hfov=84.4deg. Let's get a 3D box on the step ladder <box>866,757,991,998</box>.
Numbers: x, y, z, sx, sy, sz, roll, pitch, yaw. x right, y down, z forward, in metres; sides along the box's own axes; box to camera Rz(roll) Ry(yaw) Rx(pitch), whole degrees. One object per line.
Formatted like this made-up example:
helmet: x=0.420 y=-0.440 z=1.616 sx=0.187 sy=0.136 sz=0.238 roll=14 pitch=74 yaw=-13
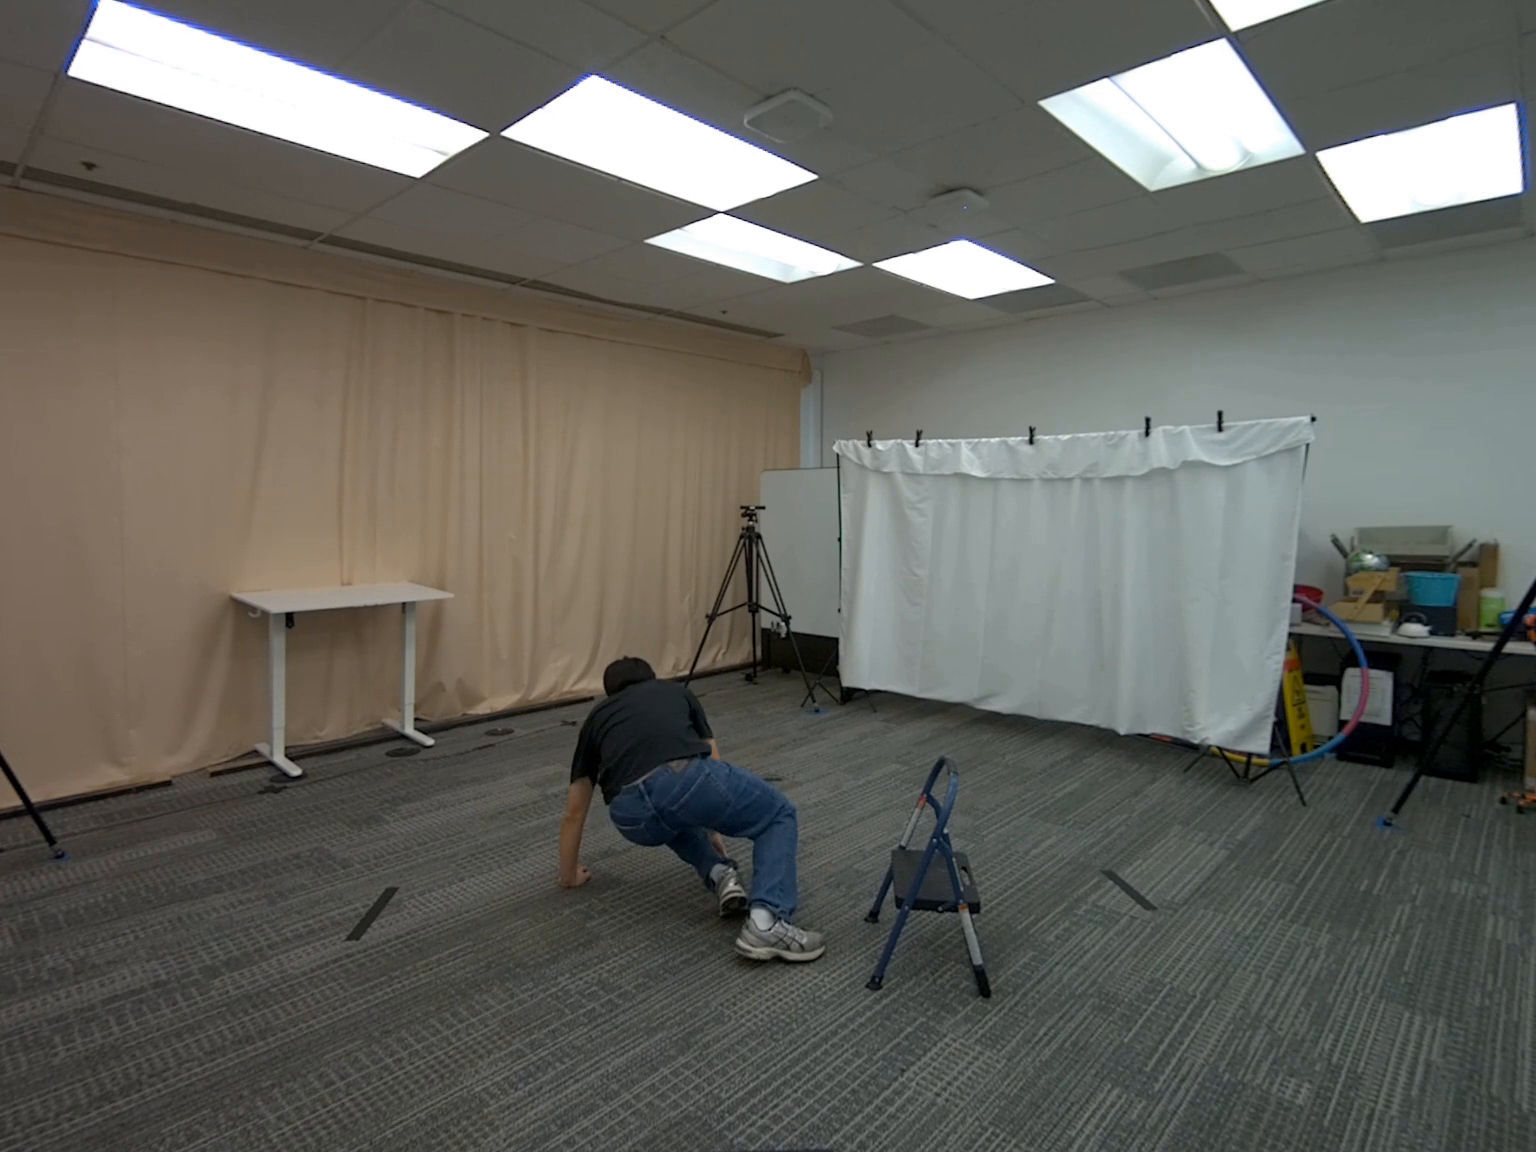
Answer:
step ladder: x=0.489 y=0.878 z=2.583 sx=0.352 sy=0.605 sz=0.428 roll=0 pitch=4 yaw=7
